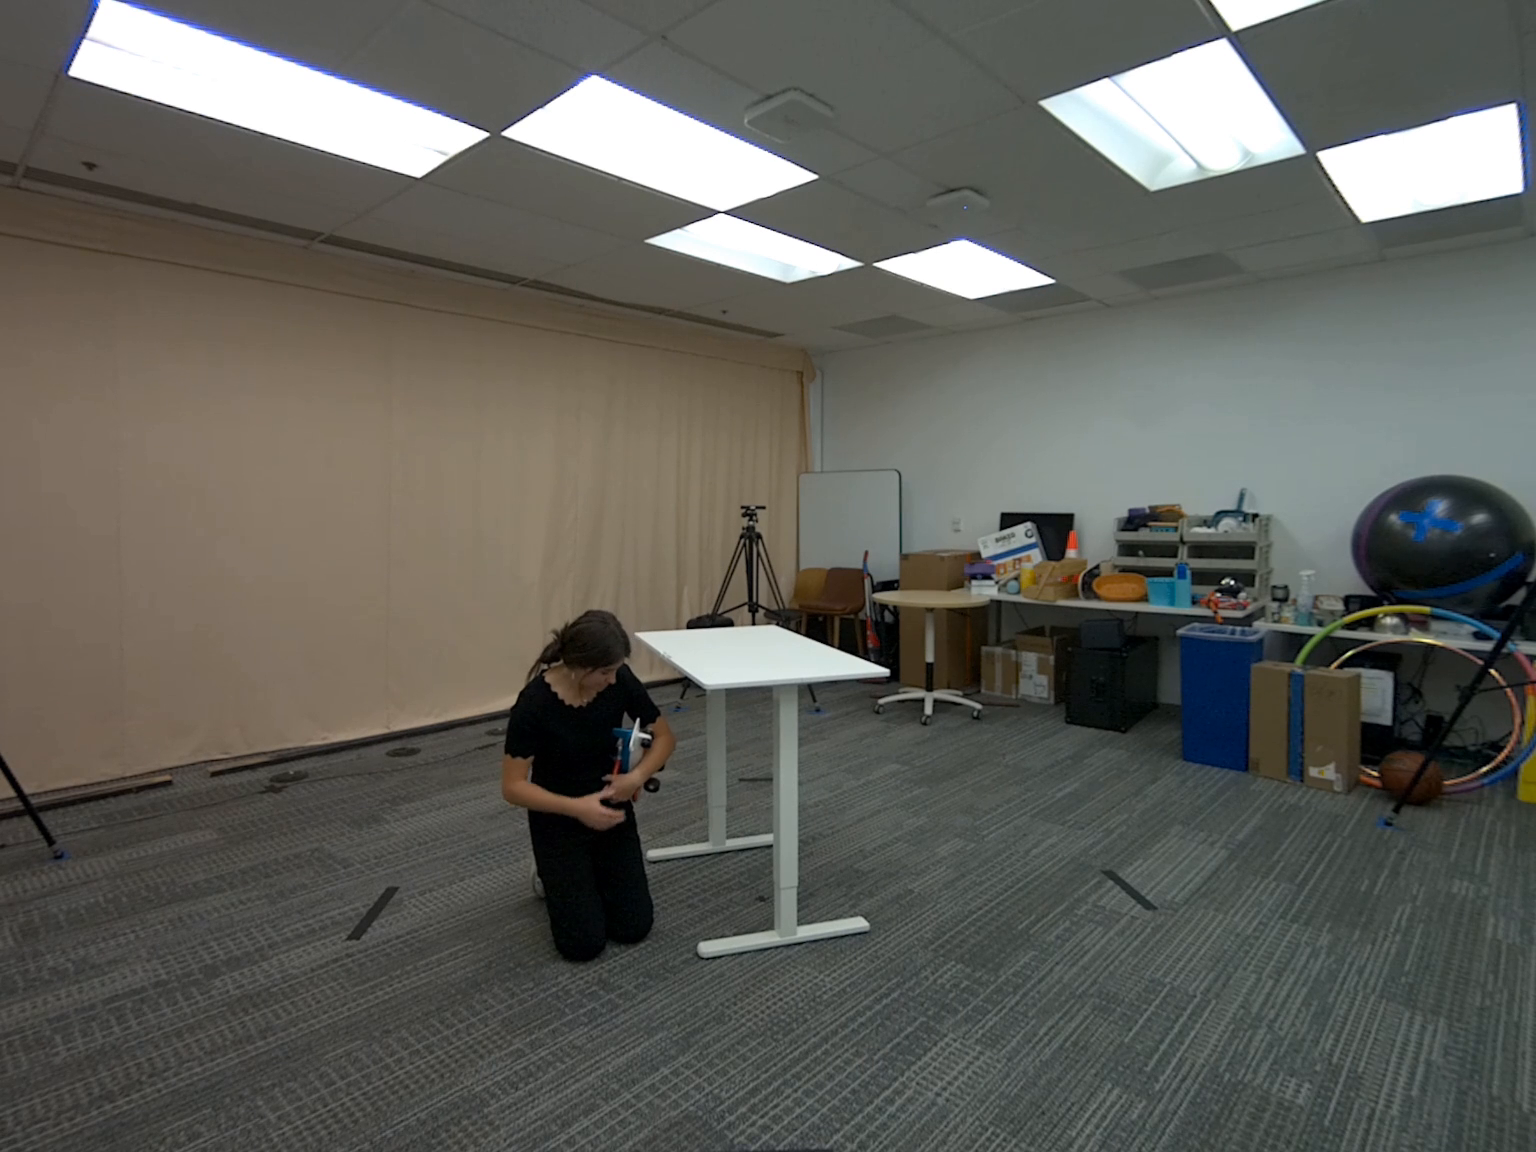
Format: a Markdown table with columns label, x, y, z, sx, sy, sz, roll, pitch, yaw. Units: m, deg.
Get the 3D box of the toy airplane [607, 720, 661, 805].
| label | x | y | z | sx | sy | sz | roll | pitch | yaw |
| --- | --- | --- | --- | --- | --- | --- | --- | --- | --- |
| toy airplane | -0.436 | 0.576 | 2.738 | 0.158 | 0.257 | 0.250 | -2 | 10 | 10 |
